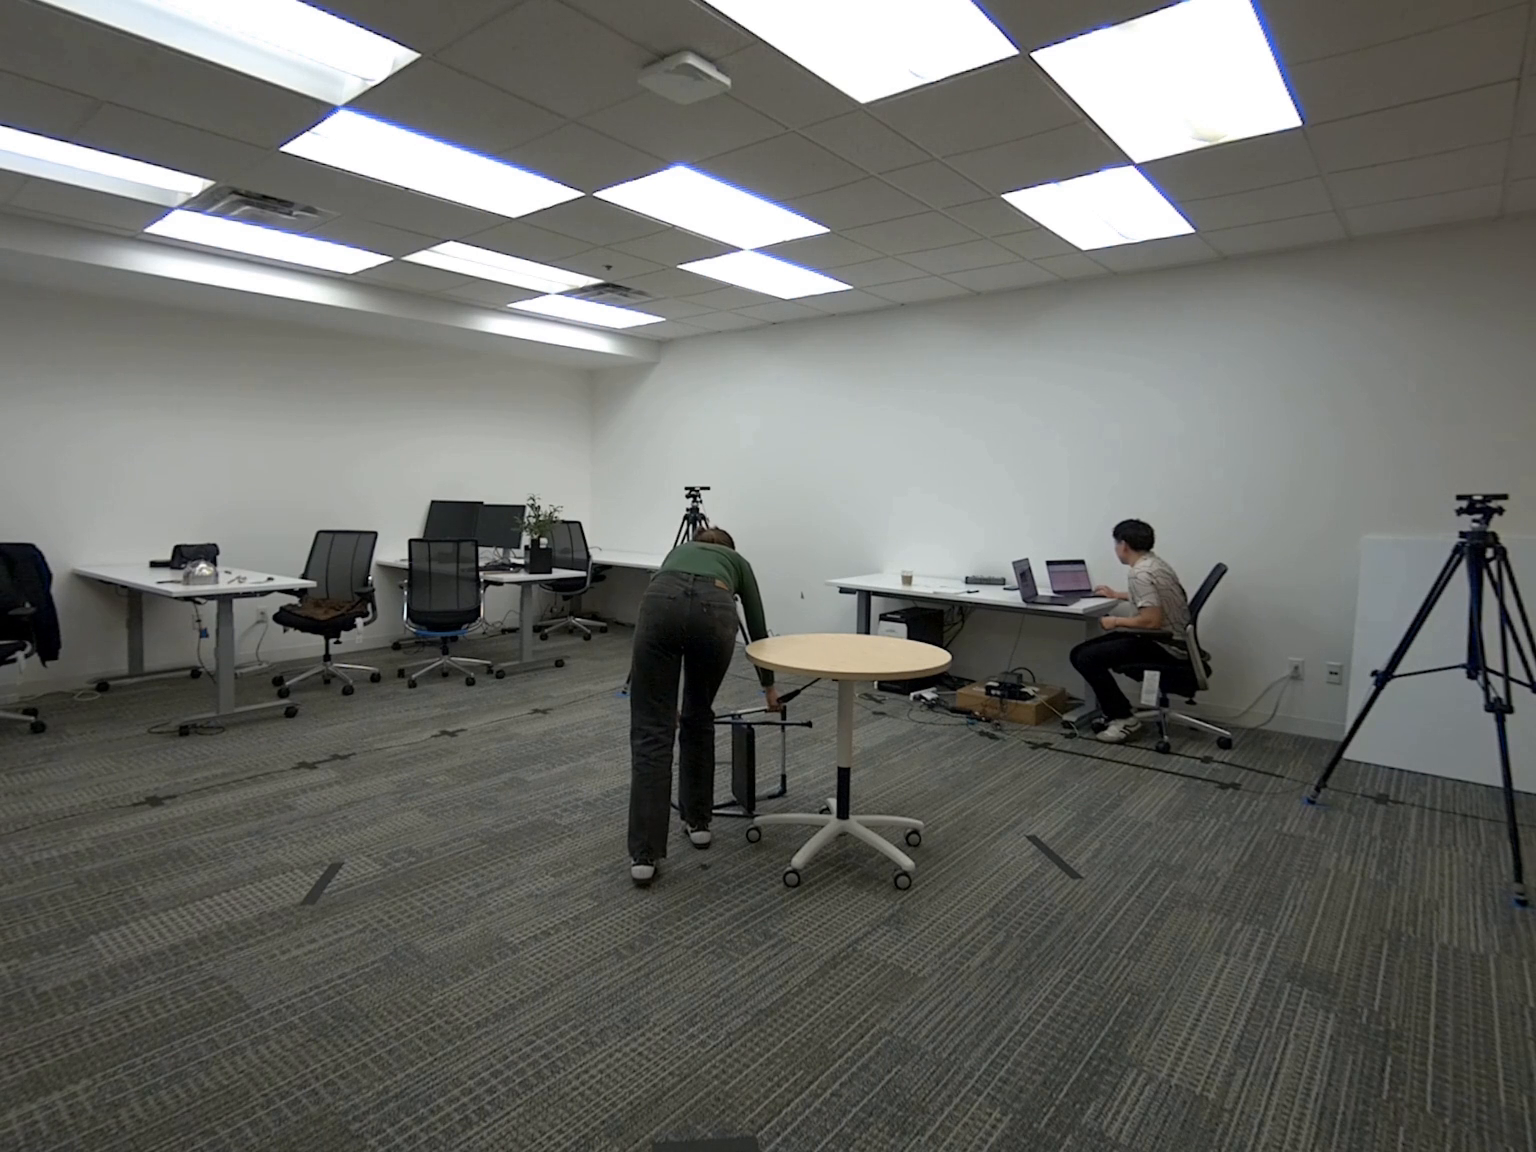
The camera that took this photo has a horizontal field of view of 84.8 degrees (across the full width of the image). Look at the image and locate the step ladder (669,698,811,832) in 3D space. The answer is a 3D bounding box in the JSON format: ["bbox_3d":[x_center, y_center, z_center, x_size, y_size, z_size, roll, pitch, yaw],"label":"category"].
[{"bbox_3d":[-0.168,0.795,3.632,0.597,0.430,0.355,-1,3,-15],"label":"step ladder"}]
